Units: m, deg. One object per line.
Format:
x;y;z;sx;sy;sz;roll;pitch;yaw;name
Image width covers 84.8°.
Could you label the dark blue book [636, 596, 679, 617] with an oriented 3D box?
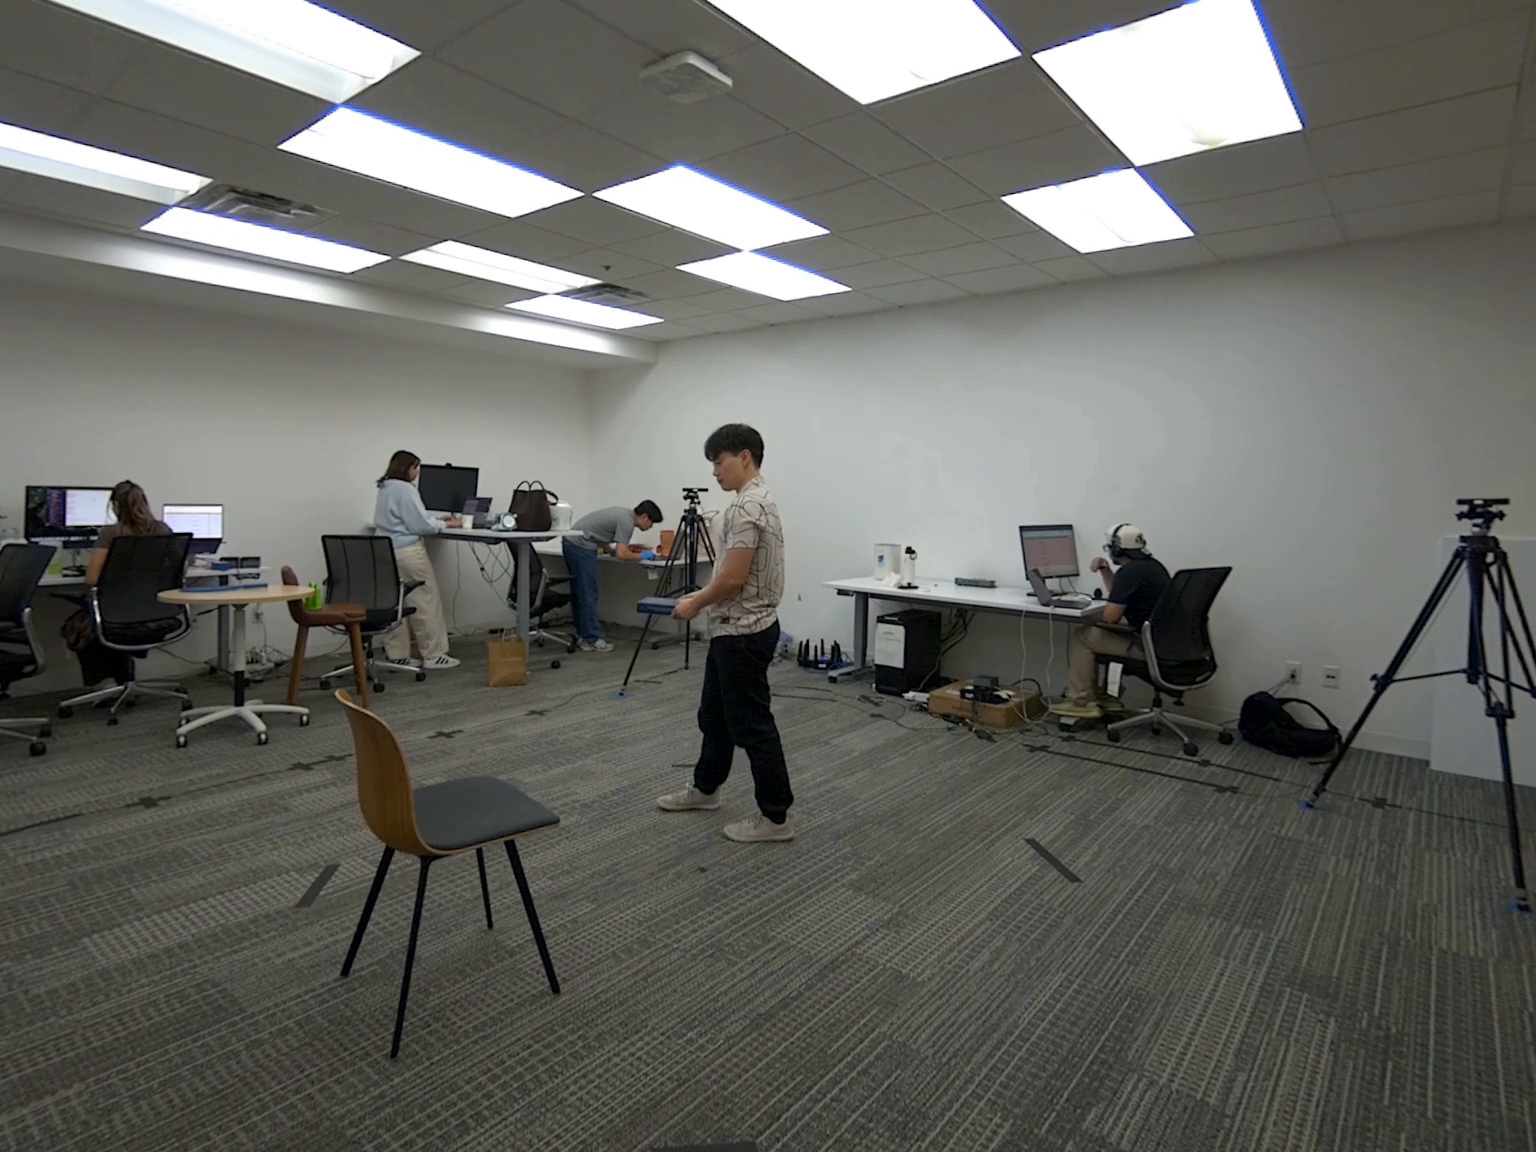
-0.411;0.119;3.503;0.248;0.045;0.163;4;8;8;dark blue book
